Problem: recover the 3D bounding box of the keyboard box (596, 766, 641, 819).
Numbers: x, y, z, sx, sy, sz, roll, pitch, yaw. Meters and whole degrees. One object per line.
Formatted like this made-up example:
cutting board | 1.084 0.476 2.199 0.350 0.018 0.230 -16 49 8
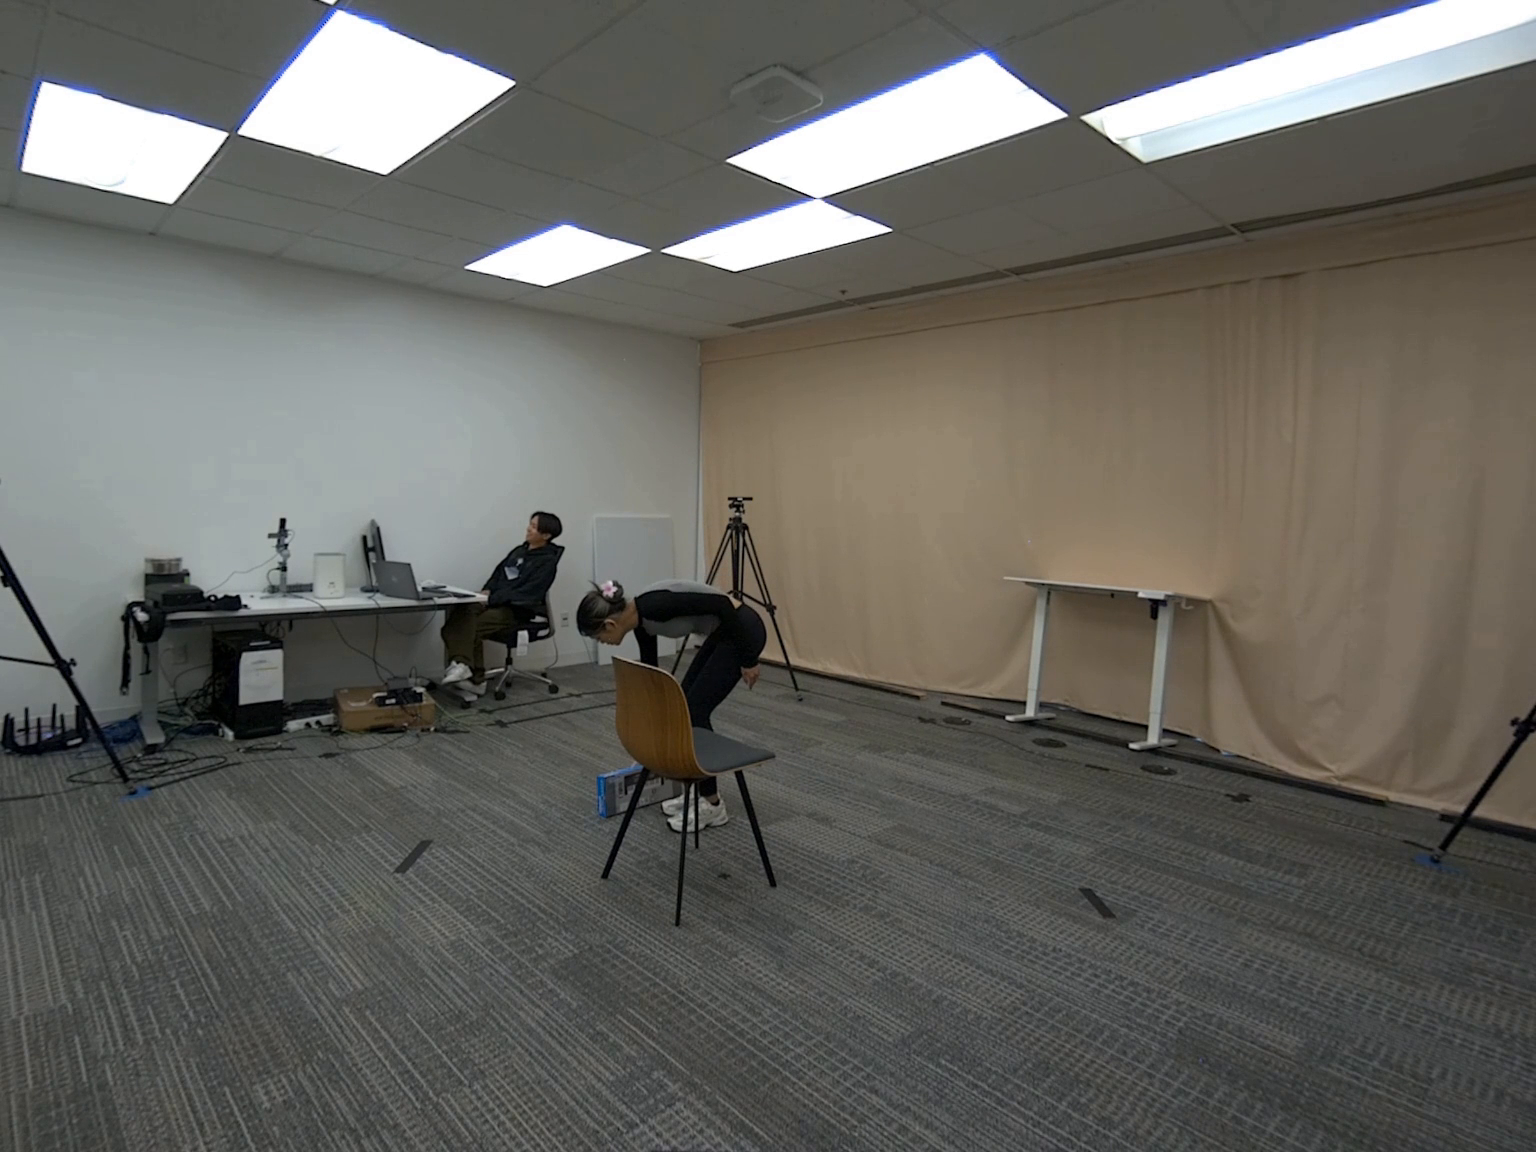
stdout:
keyboard box | -0.585 0.952 3.809 0.060 0.176 0.427 -2 0 43
